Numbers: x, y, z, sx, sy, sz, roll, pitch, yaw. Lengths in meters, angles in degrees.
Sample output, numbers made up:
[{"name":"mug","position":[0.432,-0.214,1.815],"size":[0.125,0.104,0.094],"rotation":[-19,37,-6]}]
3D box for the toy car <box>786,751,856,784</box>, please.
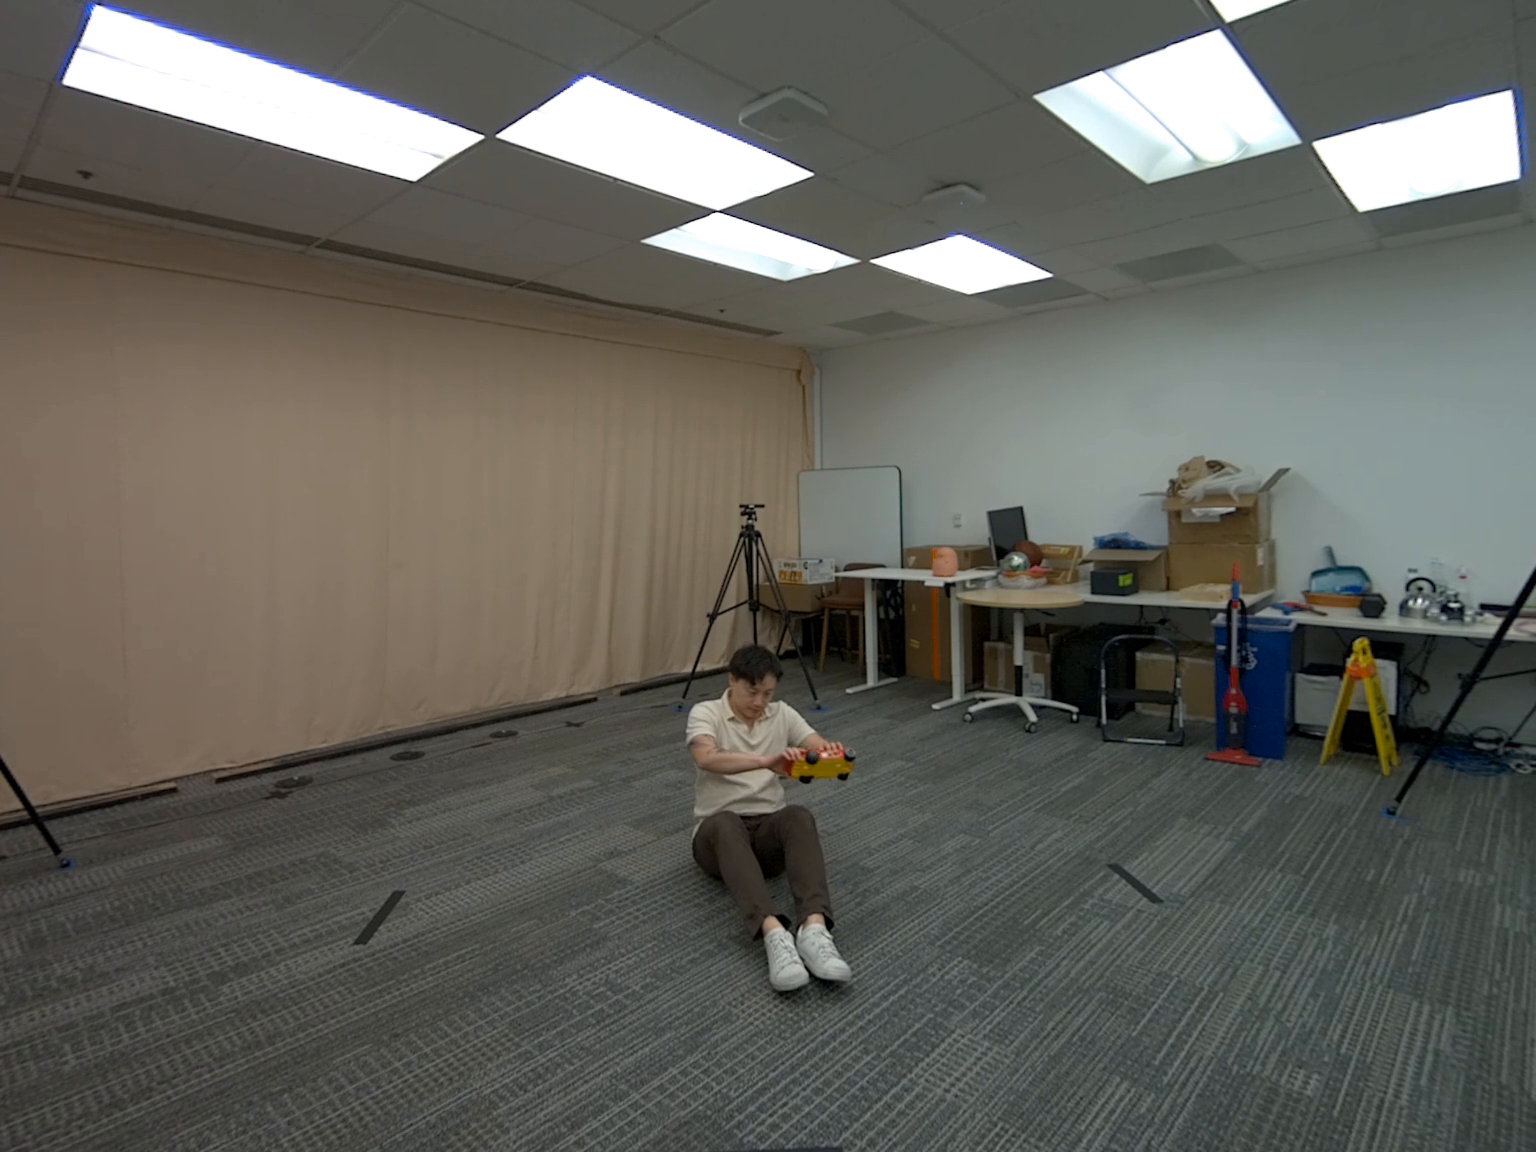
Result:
[{"name":"toy car","position":[0.165,0.657,2.910],"size":[0.251,0.129,0.085],"rotation":[7,34,-11]}]
